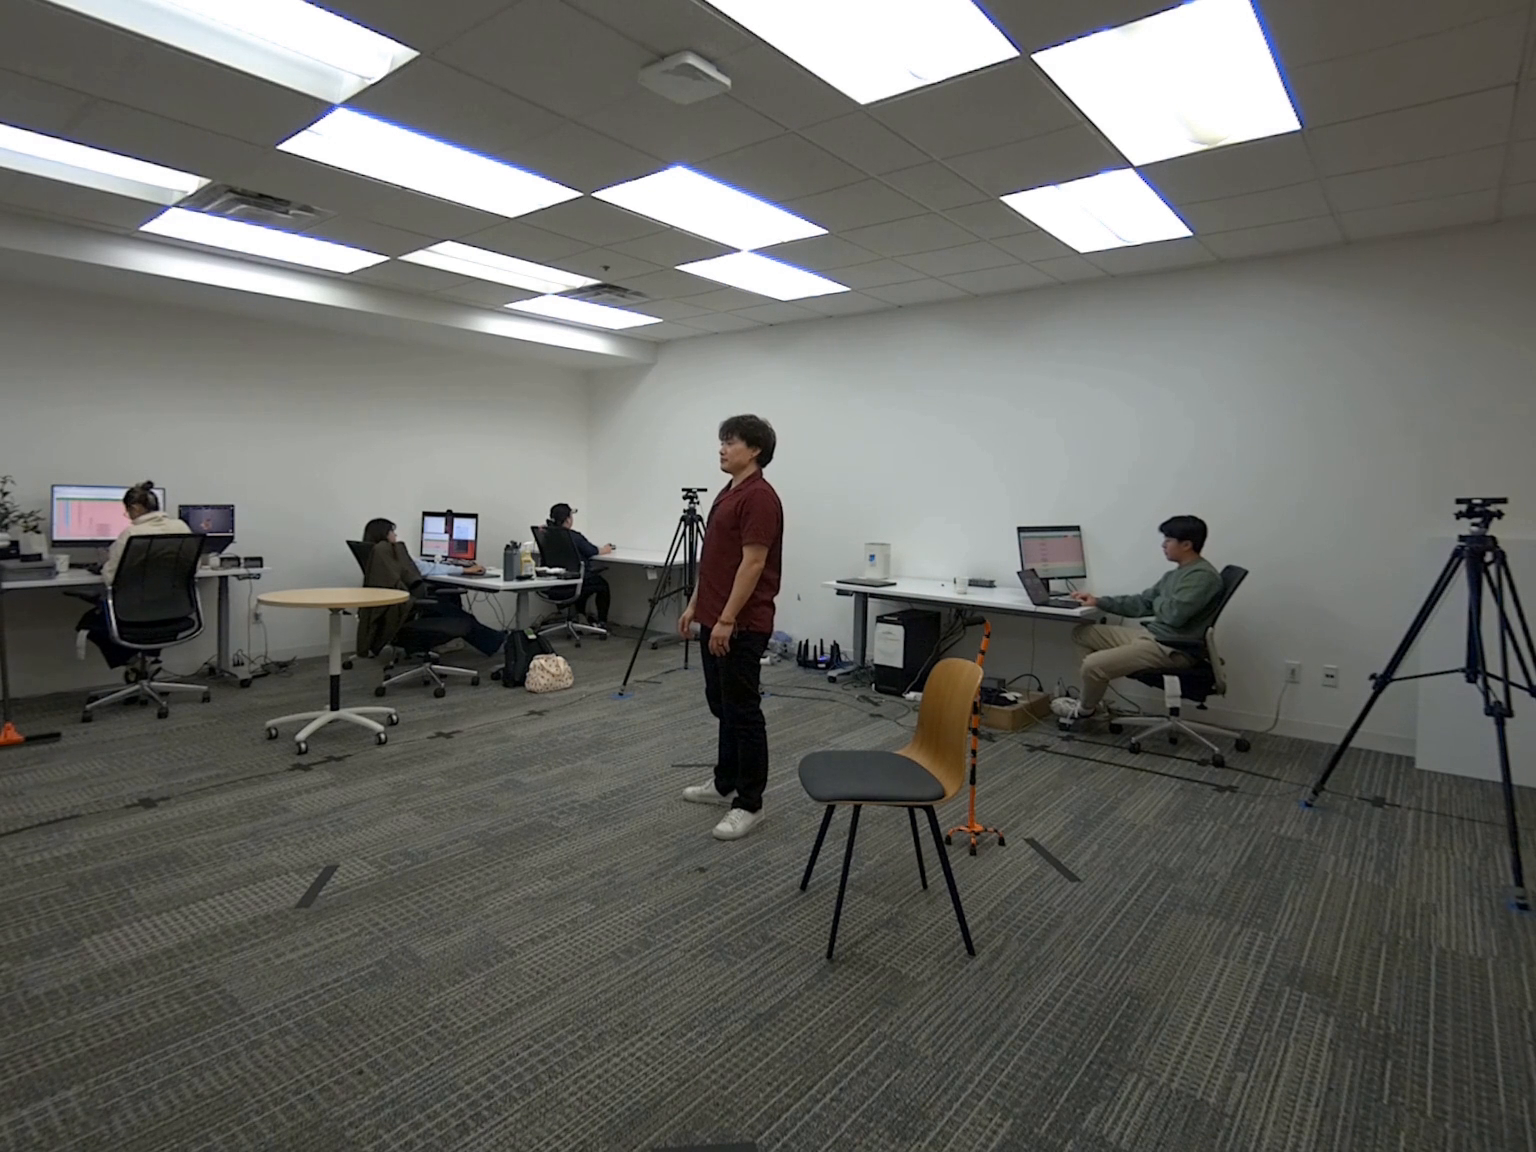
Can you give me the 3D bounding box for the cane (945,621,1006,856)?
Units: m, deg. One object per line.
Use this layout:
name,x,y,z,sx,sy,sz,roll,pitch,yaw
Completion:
cane,0.826,0.615,3.377,0.200,0.905,0.156,-2,3,-37
